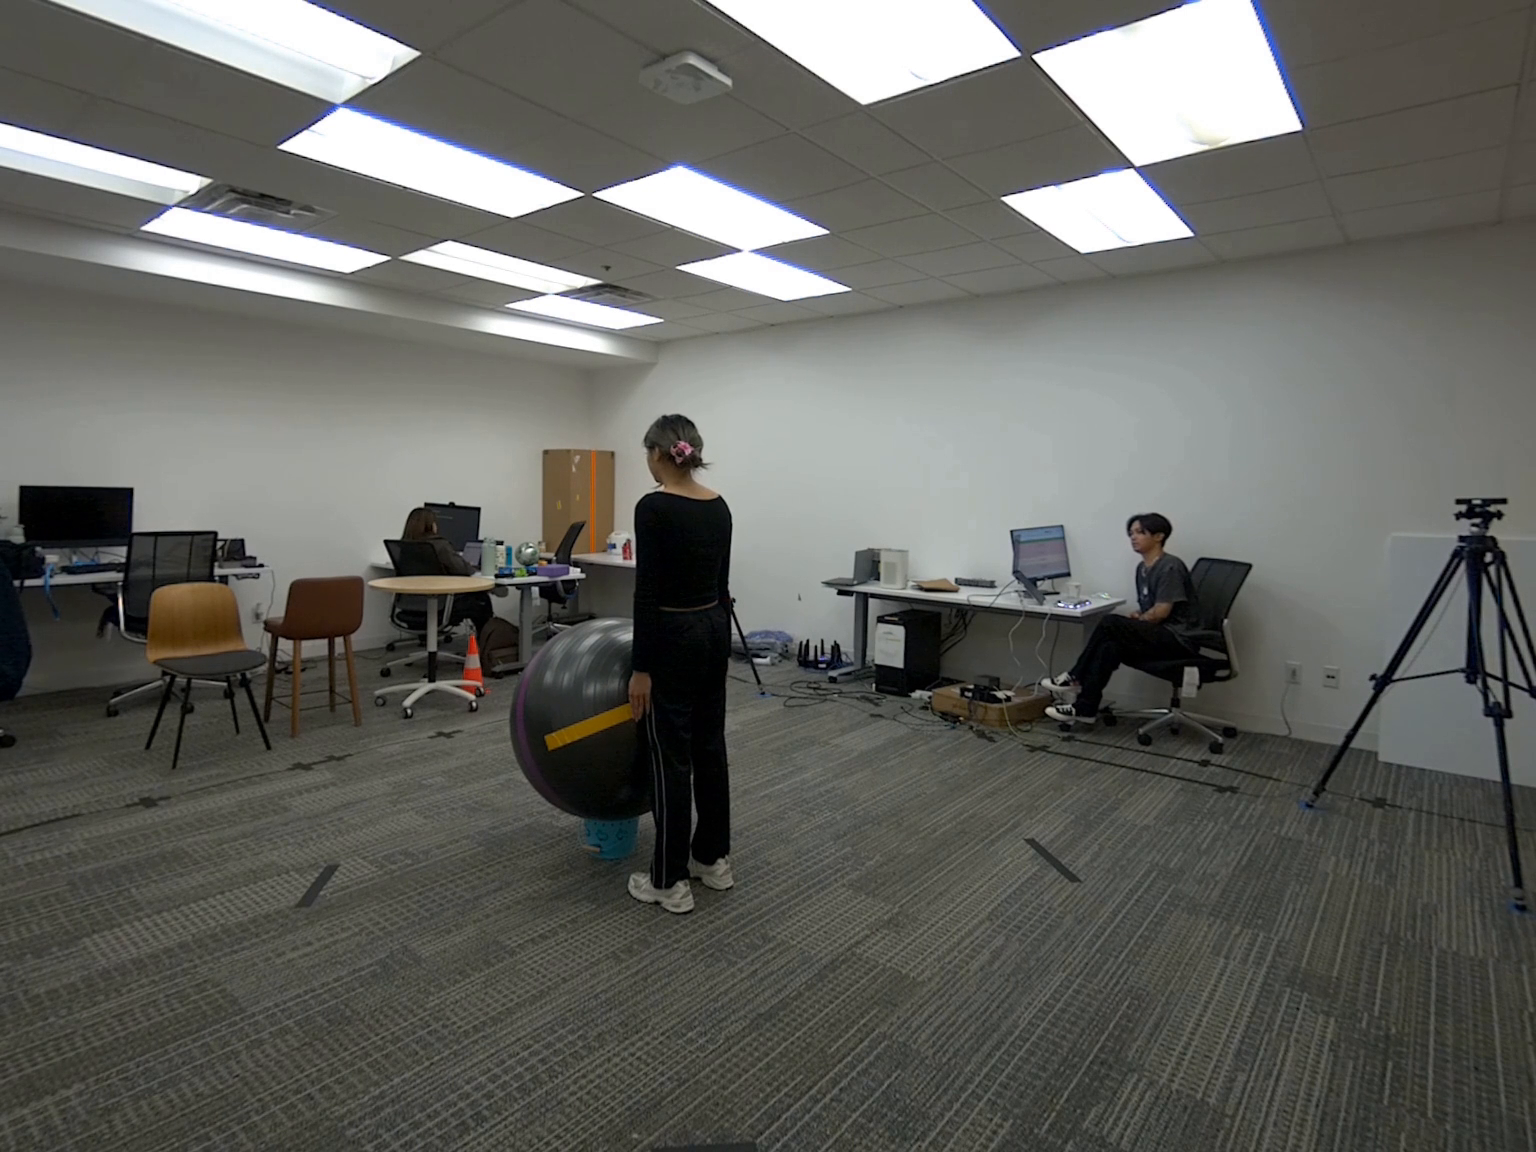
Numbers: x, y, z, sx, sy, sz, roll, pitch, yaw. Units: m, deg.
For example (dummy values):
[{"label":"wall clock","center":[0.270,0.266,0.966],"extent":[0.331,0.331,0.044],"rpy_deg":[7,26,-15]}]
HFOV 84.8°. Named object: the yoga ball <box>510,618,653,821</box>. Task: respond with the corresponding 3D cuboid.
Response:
[{"label":"yoga ball","center":[-0.613,0.547,3.251],"extent":[0.757,0.755,0.762],"rpy_deg":[1,4,-2]}]
